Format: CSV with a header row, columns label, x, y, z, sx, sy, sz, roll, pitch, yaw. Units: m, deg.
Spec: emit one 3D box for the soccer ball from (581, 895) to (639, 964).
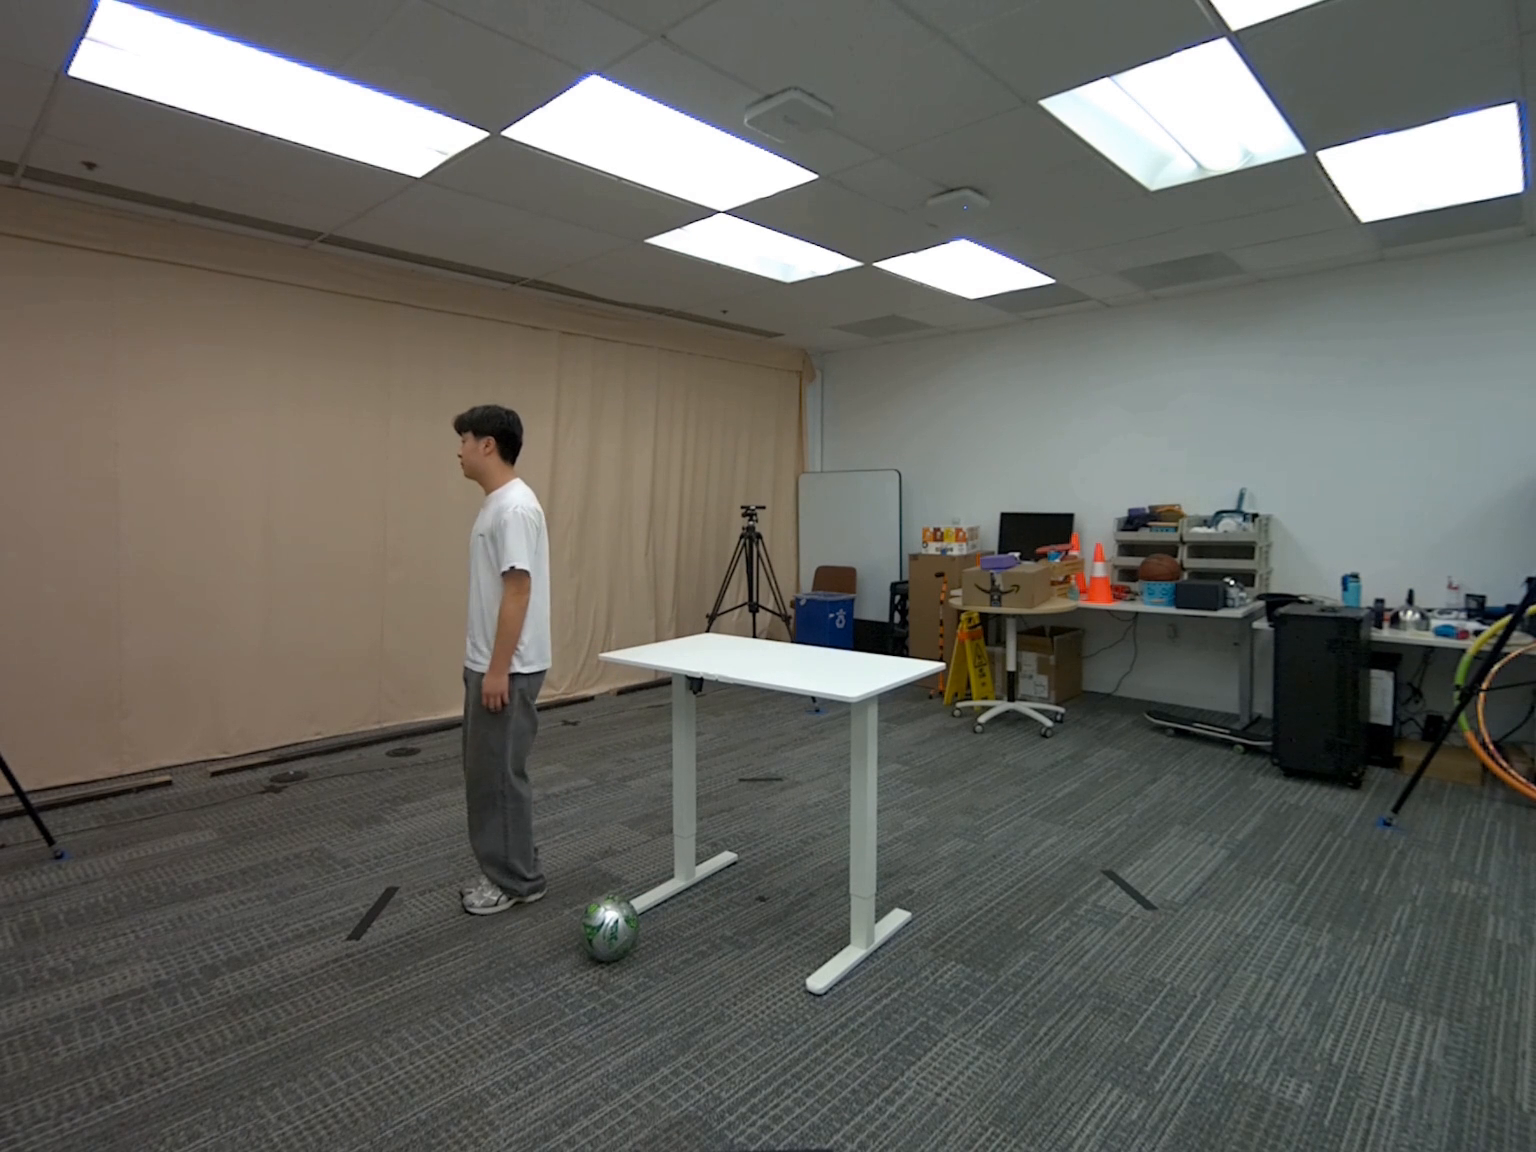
label,x,y,z,sx,sy,sz,roll,pitch,yaw
soccer ball,-0.485,1.088,2.595,0.187,0.187,0.188,0,4,-2
